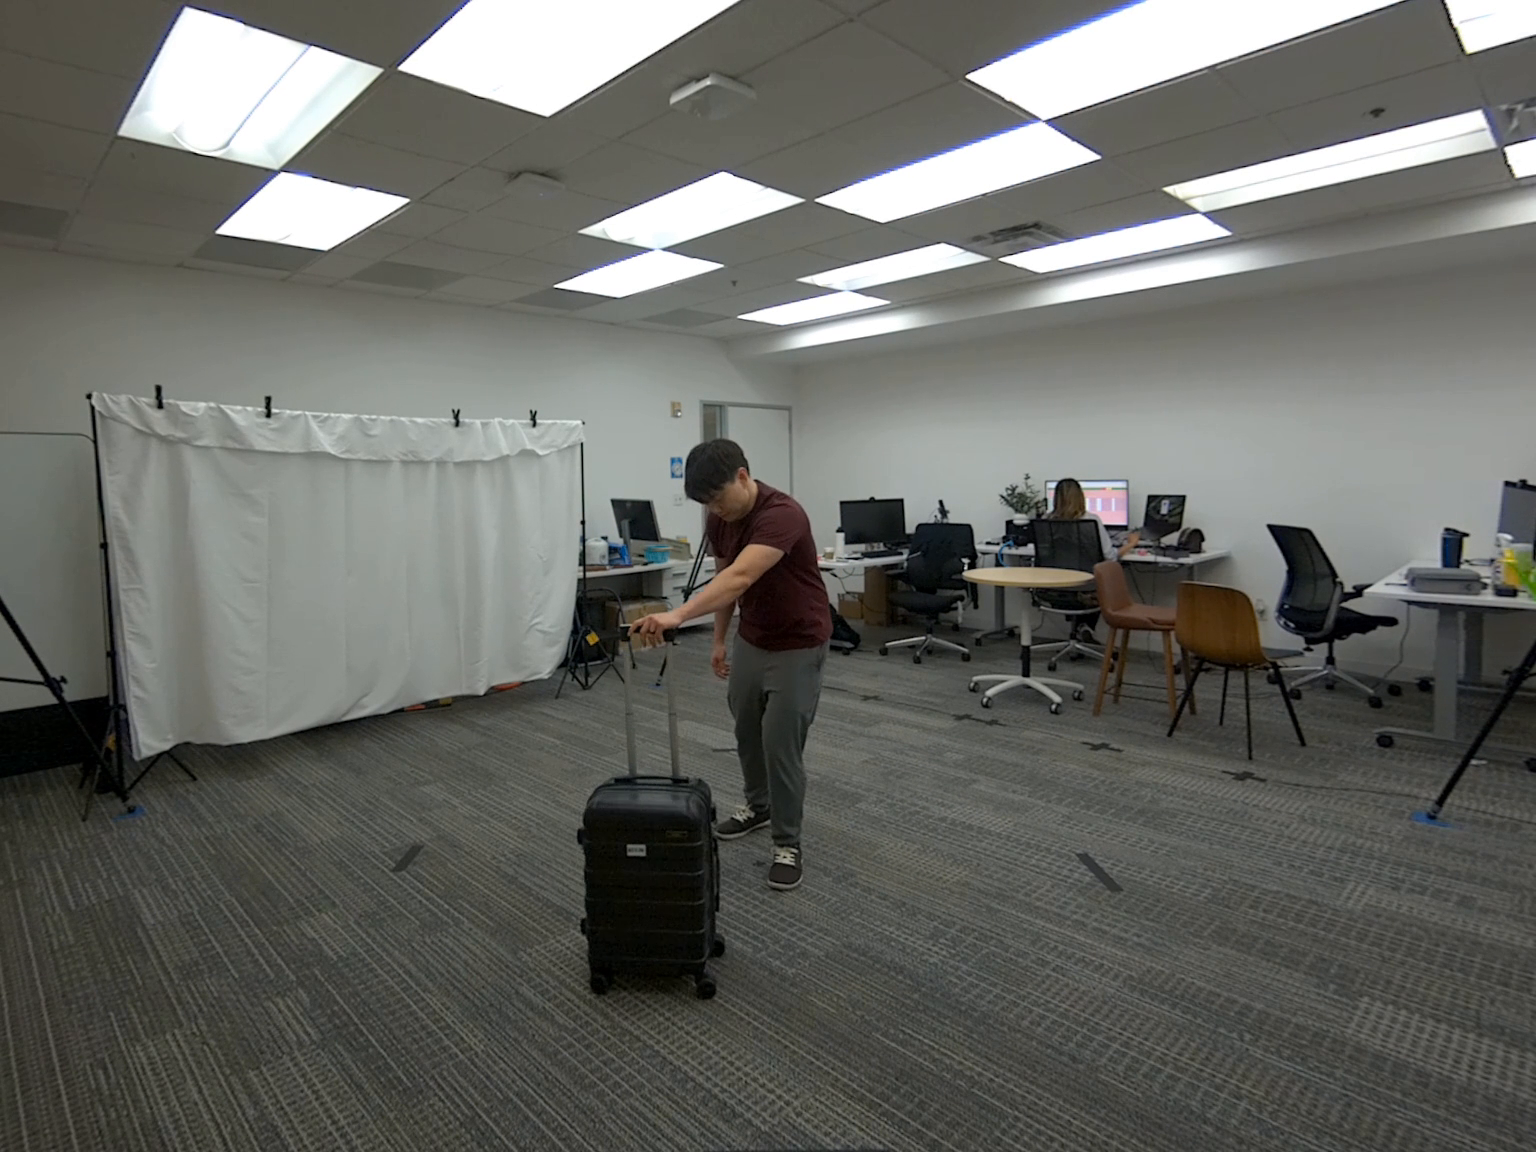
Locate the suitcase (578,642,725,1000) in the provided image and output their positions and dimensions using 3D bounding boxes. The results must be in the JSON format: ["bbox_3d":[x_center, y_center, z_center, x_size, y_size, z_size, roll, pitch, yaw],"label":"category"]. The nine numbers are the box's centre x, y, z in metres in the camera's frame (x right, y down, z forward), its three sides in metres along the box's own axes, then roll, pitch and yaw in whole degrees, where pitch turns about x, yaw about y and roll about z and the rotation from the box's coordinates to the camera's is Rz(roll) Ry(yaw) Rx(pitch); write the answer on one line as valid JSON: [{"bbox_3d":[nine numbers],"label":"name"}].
[{"bbox_3d":[-0.334,0.655,2.418,0.387,0.974,0.256,-2,4,7],"label":"suitcase"}]
